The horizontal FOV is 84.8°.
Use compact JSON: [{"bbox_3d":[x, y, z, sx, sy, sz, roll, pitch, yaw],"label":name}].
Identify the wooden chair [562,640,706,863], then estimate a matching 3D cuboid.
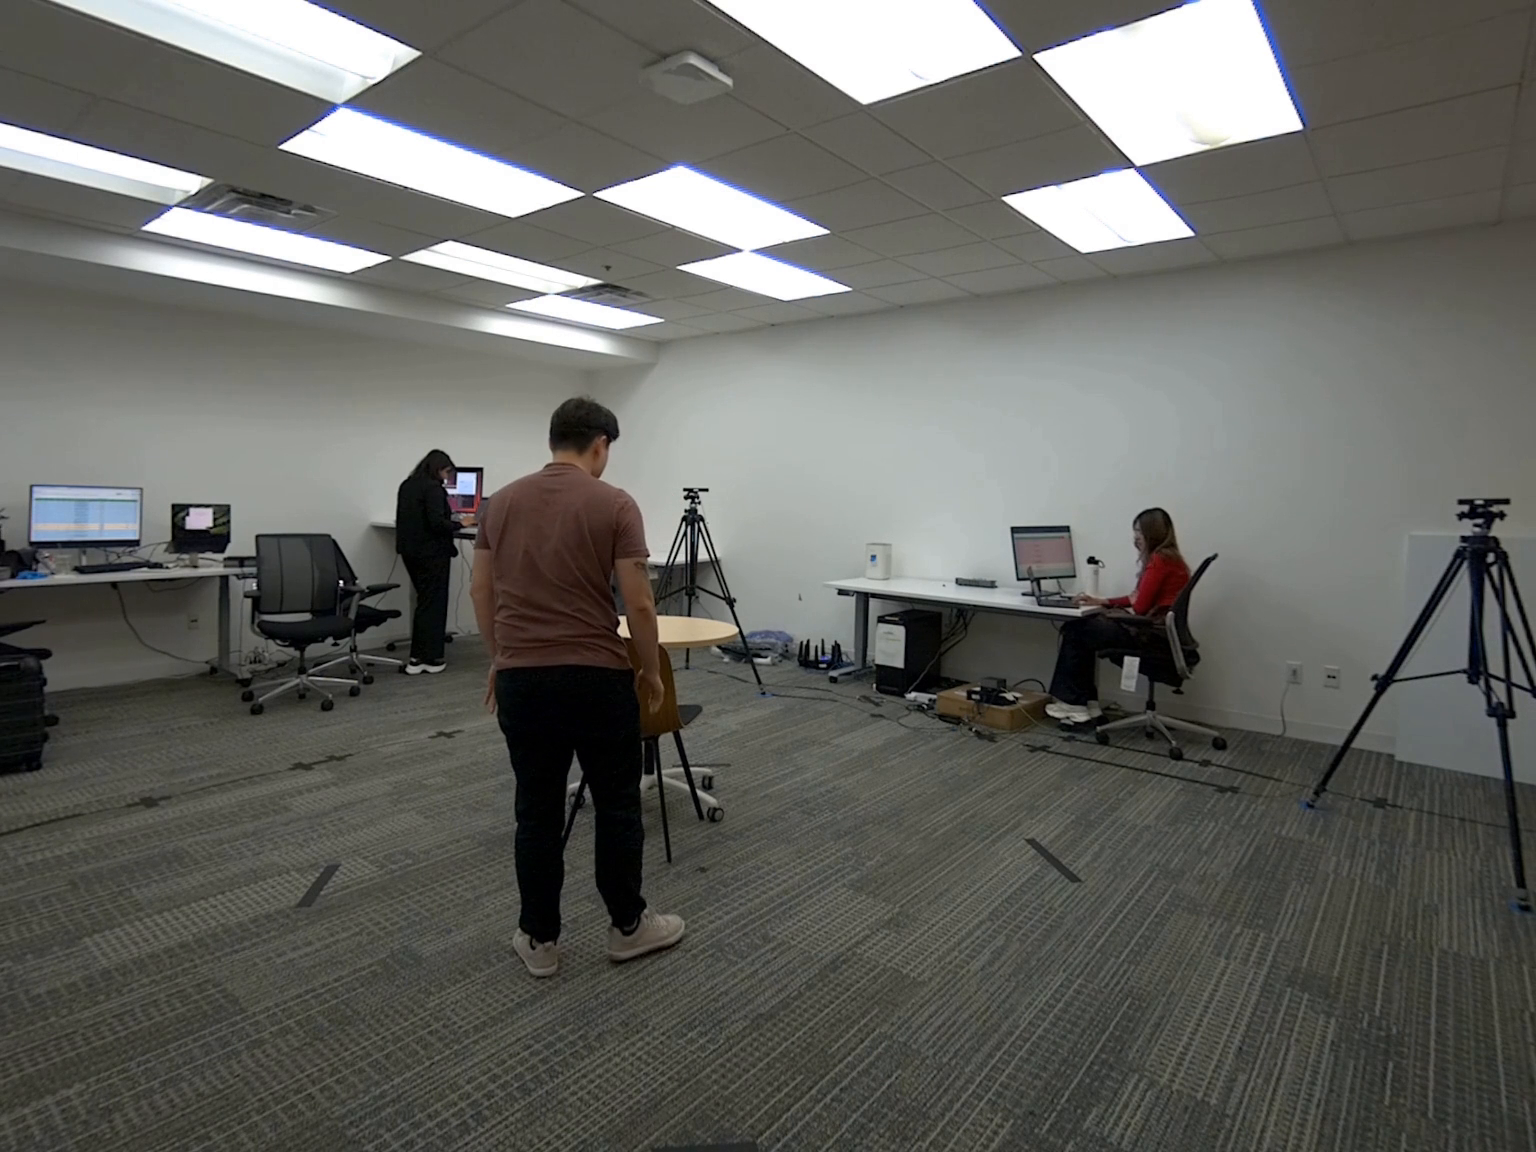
[{"bbox_3d":[-0.534,0.604,3.401,0.486,0.871,0.518,1,7,14],"label":"wooden chair"}]
